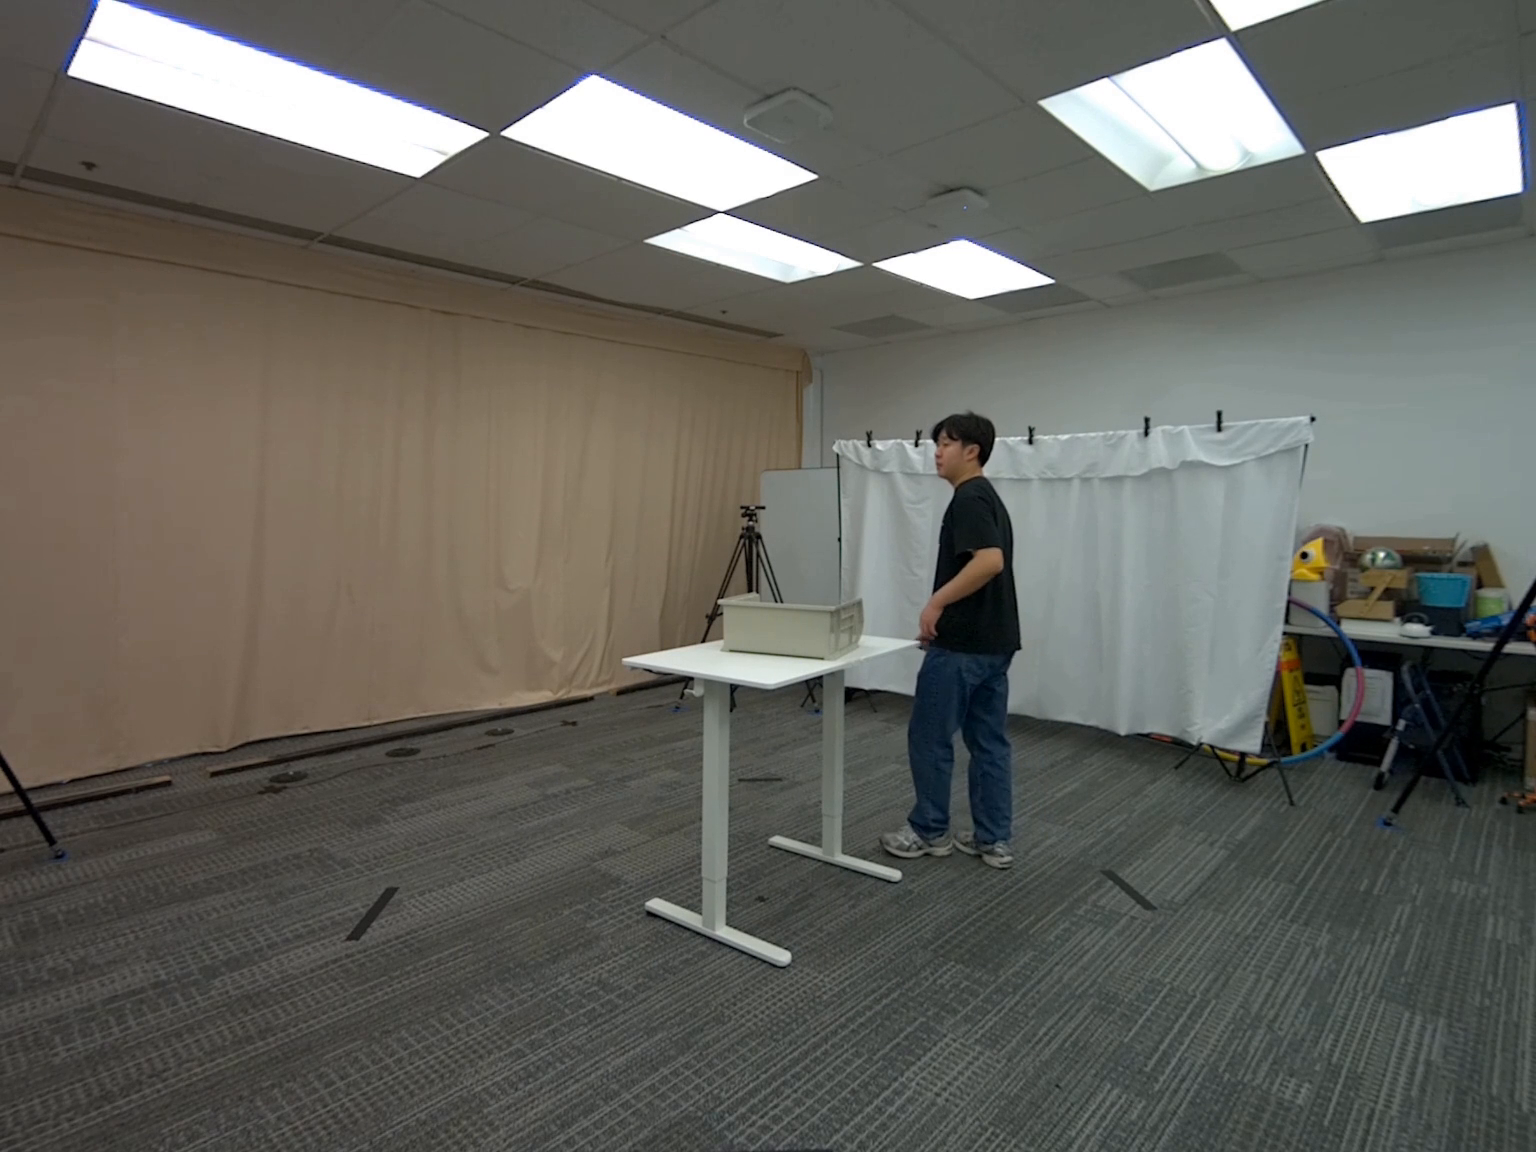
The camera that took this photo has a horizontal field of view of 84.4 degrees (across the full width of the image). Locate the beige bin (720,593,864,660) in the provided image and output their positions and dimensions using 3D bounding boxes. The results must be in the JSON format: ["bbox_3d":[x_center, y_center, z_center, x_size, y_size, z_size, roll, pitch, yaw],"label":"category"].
[{"bbox_3d":[0.095,0.174,3.000,0.433,0.188,0.369,2,6,24],"label":"beige bin"}]
